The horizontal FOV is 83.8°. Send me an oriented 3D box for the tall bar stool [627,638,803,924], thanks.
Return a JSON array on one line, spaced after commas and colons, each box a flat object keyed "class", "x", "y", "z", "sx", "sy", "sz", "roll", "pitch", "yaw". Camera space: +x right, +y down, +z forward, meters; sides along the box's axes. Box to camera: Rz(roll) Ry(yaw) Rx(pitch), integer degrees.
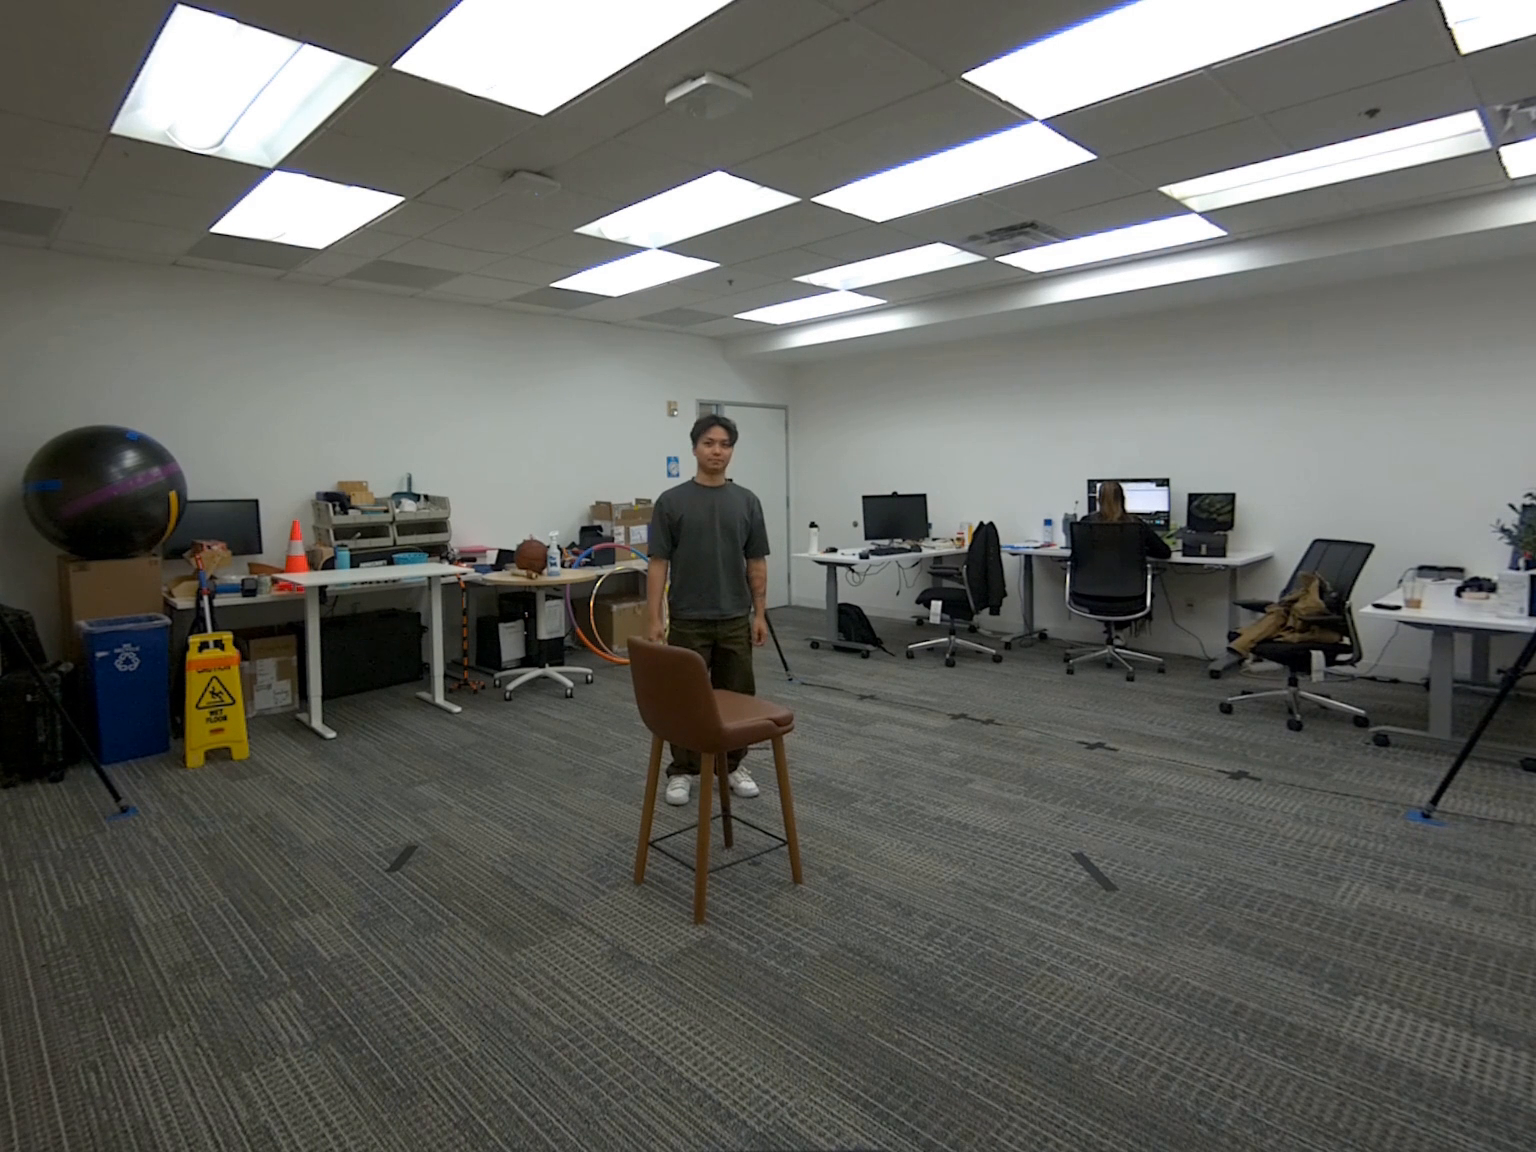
[{"class": "tall bar stool", "x": -0.190, "y": 0.633, "z": 2.937, "sx": 0.456, "sy": 0.886, "sz": 0.470, "roll": -7, "pitch": 7, "yaw": -40}]
